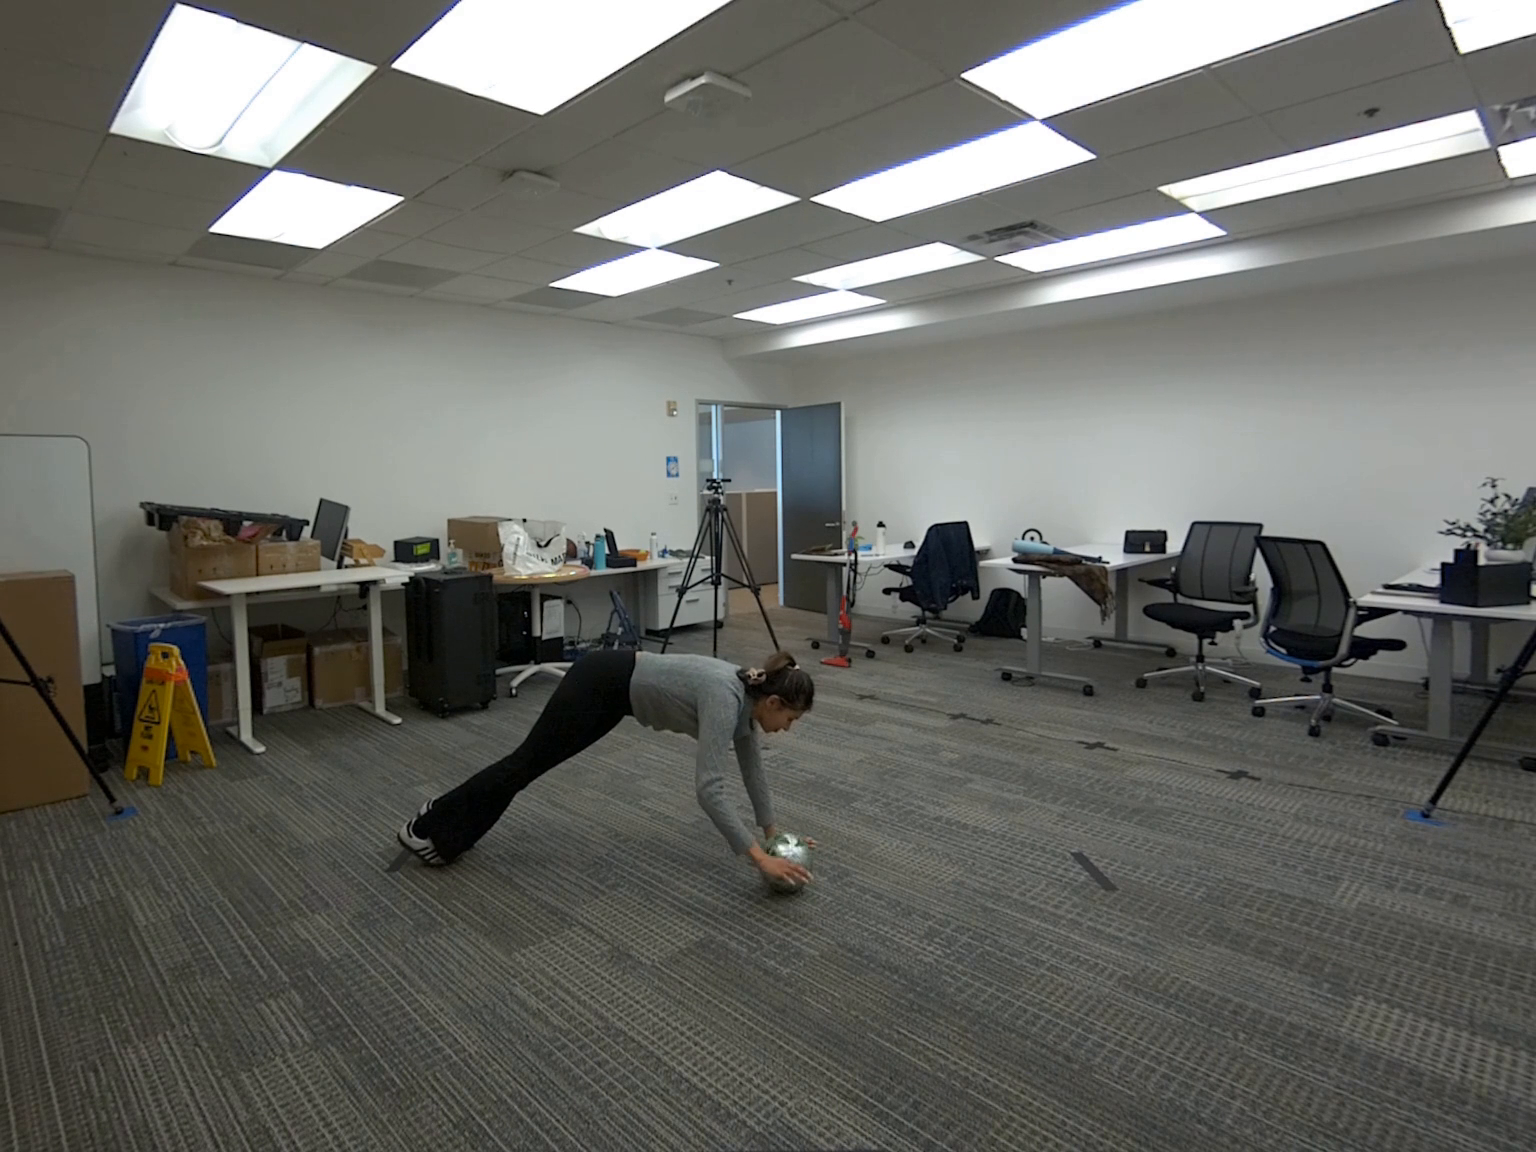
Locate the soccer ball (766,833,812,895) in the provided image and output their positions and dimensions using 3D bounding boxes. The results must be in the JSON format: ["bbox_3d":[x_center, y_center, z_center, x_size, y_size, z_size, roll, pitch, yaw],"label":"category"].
[{"bbox_3d":[0.061,0.971,2.896,0.187,0.187,0.188,-1,5,-2],"label":"soccer ball"}]
